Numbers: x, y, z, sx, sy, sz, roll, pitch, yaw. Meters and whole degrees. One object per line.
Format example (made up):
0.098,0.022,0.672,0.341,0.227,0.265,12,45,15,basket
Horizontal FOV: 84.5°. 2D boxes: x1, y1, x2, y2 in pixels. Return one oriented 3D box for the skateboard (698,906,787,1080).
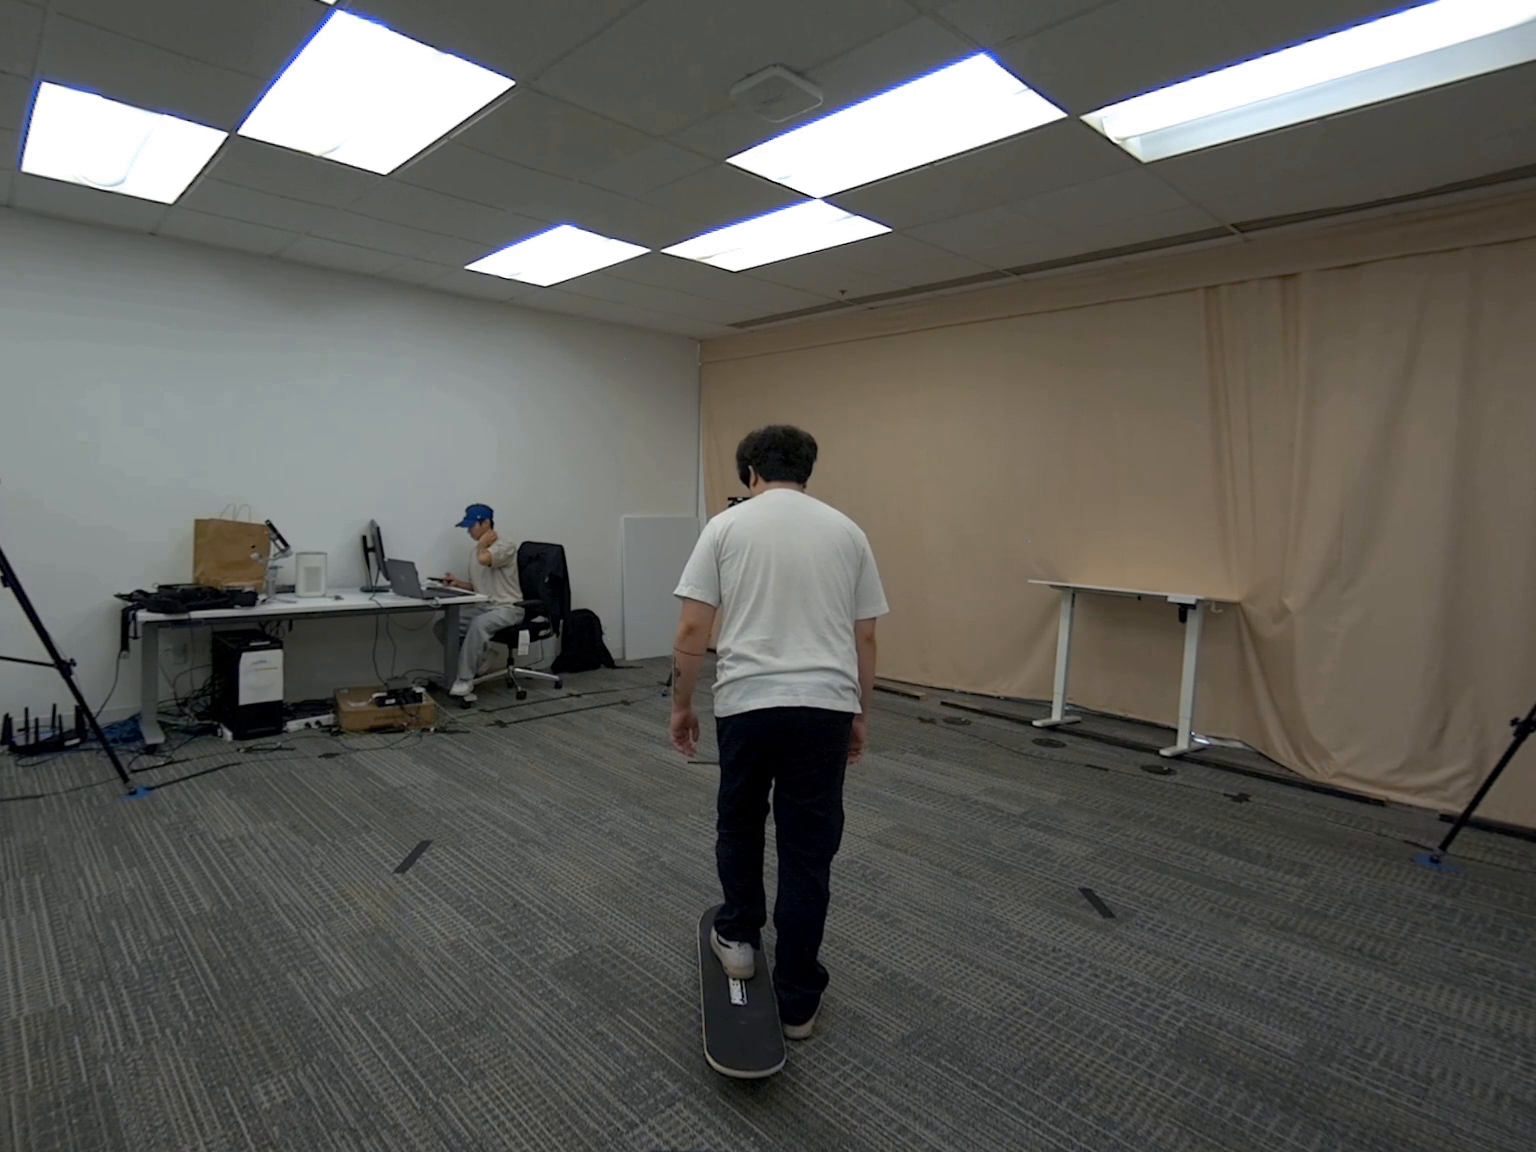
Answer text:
-0.090,1.128,2.282,0.192,0.110,0.791,2,5,-7,skateboard
